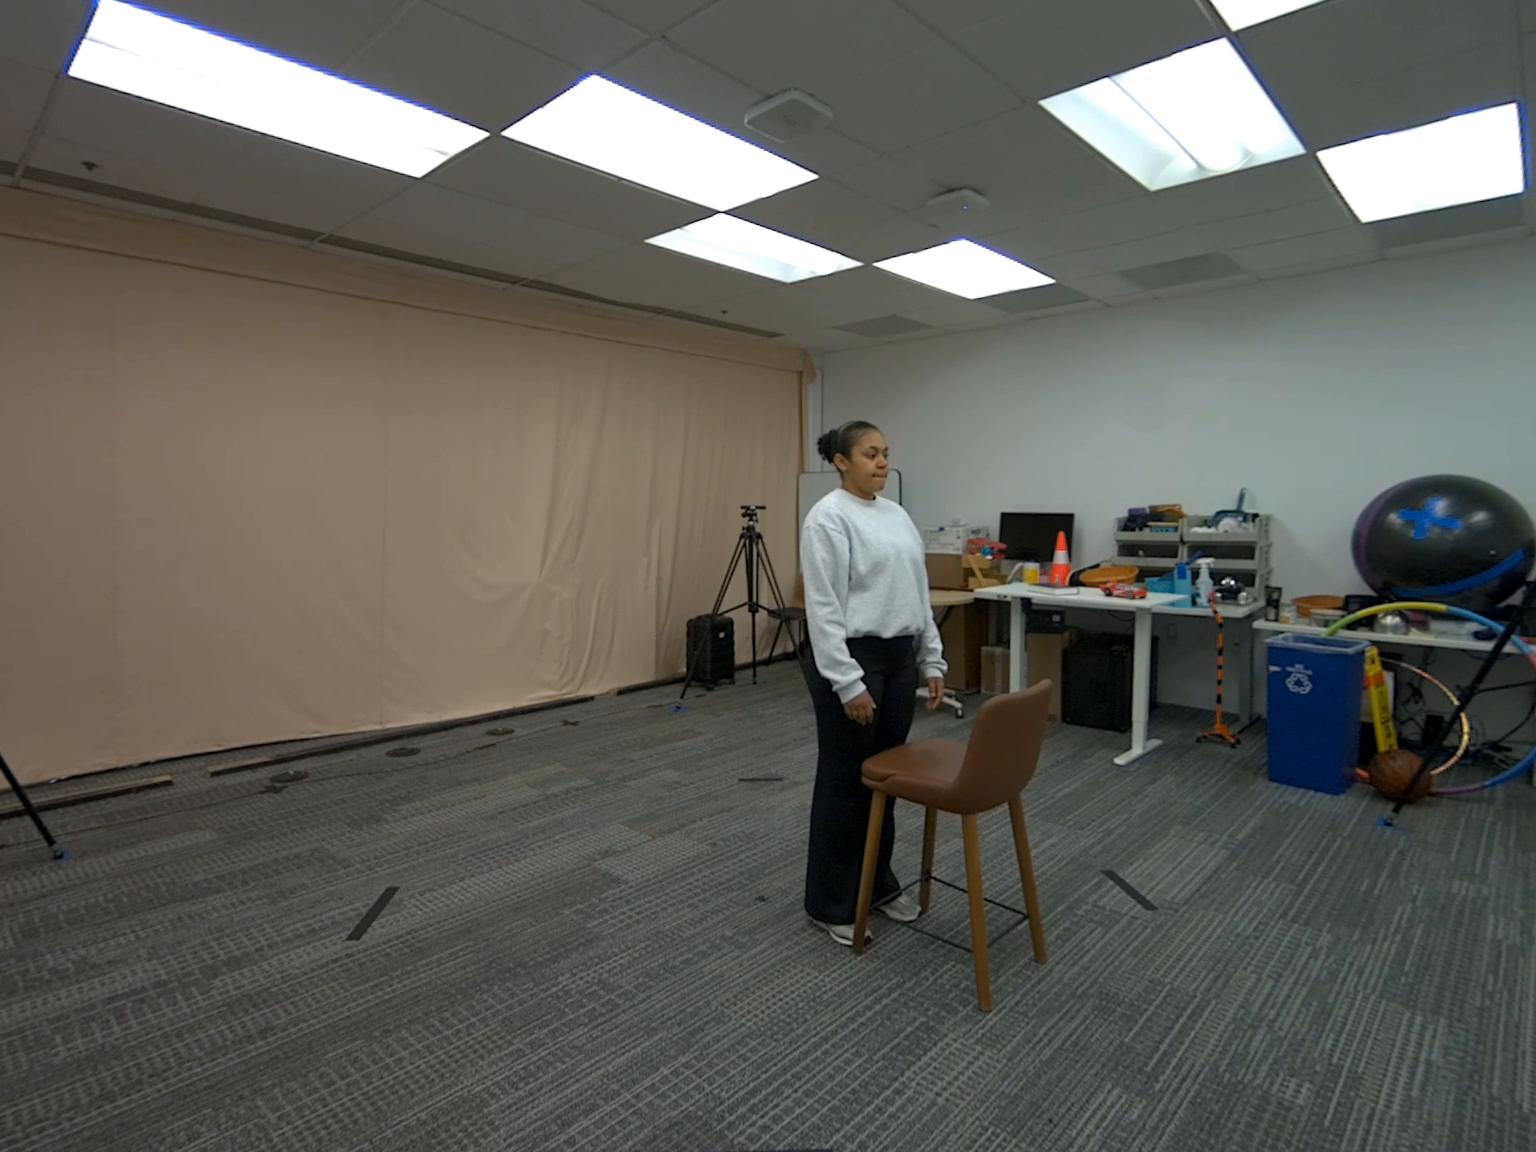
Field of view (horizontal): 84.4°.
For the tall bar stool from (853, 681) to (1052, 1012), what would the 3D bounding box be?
[{"bbox_3d":[0.574,0.739,2.565,0.483,0.887,0.442,6,7,44],"label":"tall bar stool"}]
